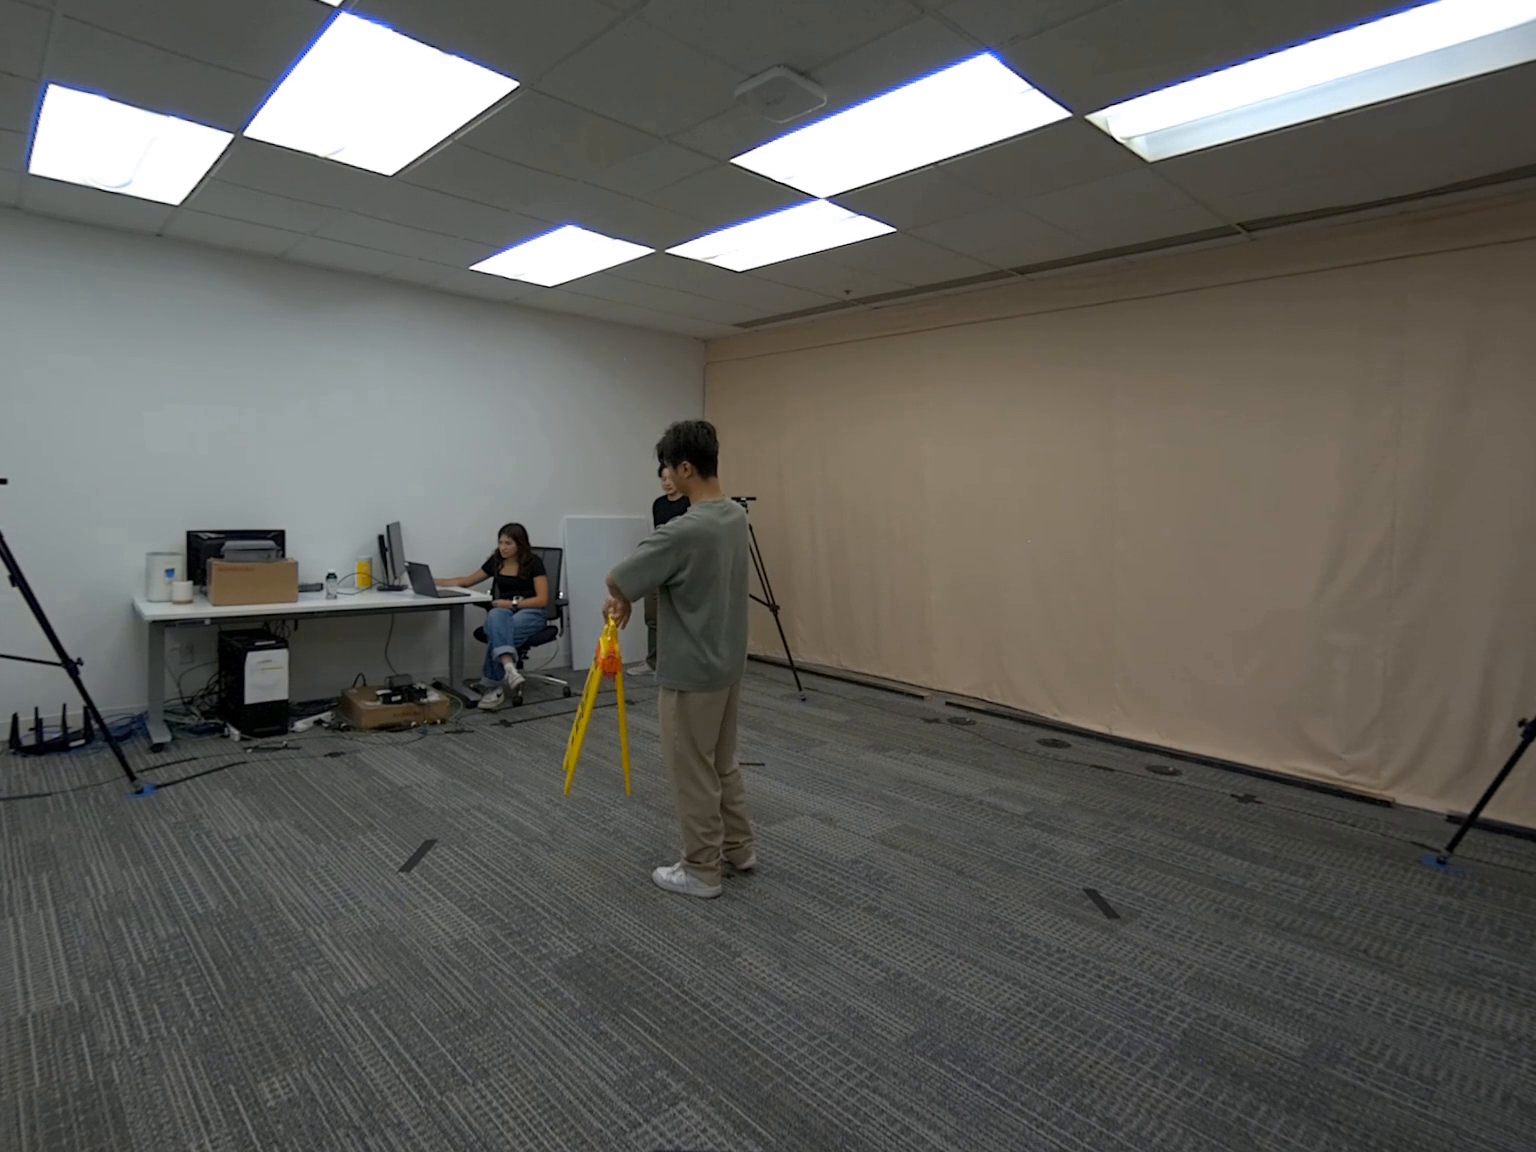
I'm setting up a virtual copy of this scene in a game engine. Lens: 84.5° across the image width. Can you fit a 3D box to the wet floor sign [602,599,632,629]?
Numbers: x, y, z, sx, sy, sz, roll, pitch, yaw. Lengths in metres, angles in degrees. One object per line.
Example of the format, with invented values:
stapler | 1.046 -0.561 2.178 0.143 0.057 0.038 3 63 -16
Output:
wet floor sign | -0.618 0.476 3.178 0.286 0.642 0.287 5 9 -13
